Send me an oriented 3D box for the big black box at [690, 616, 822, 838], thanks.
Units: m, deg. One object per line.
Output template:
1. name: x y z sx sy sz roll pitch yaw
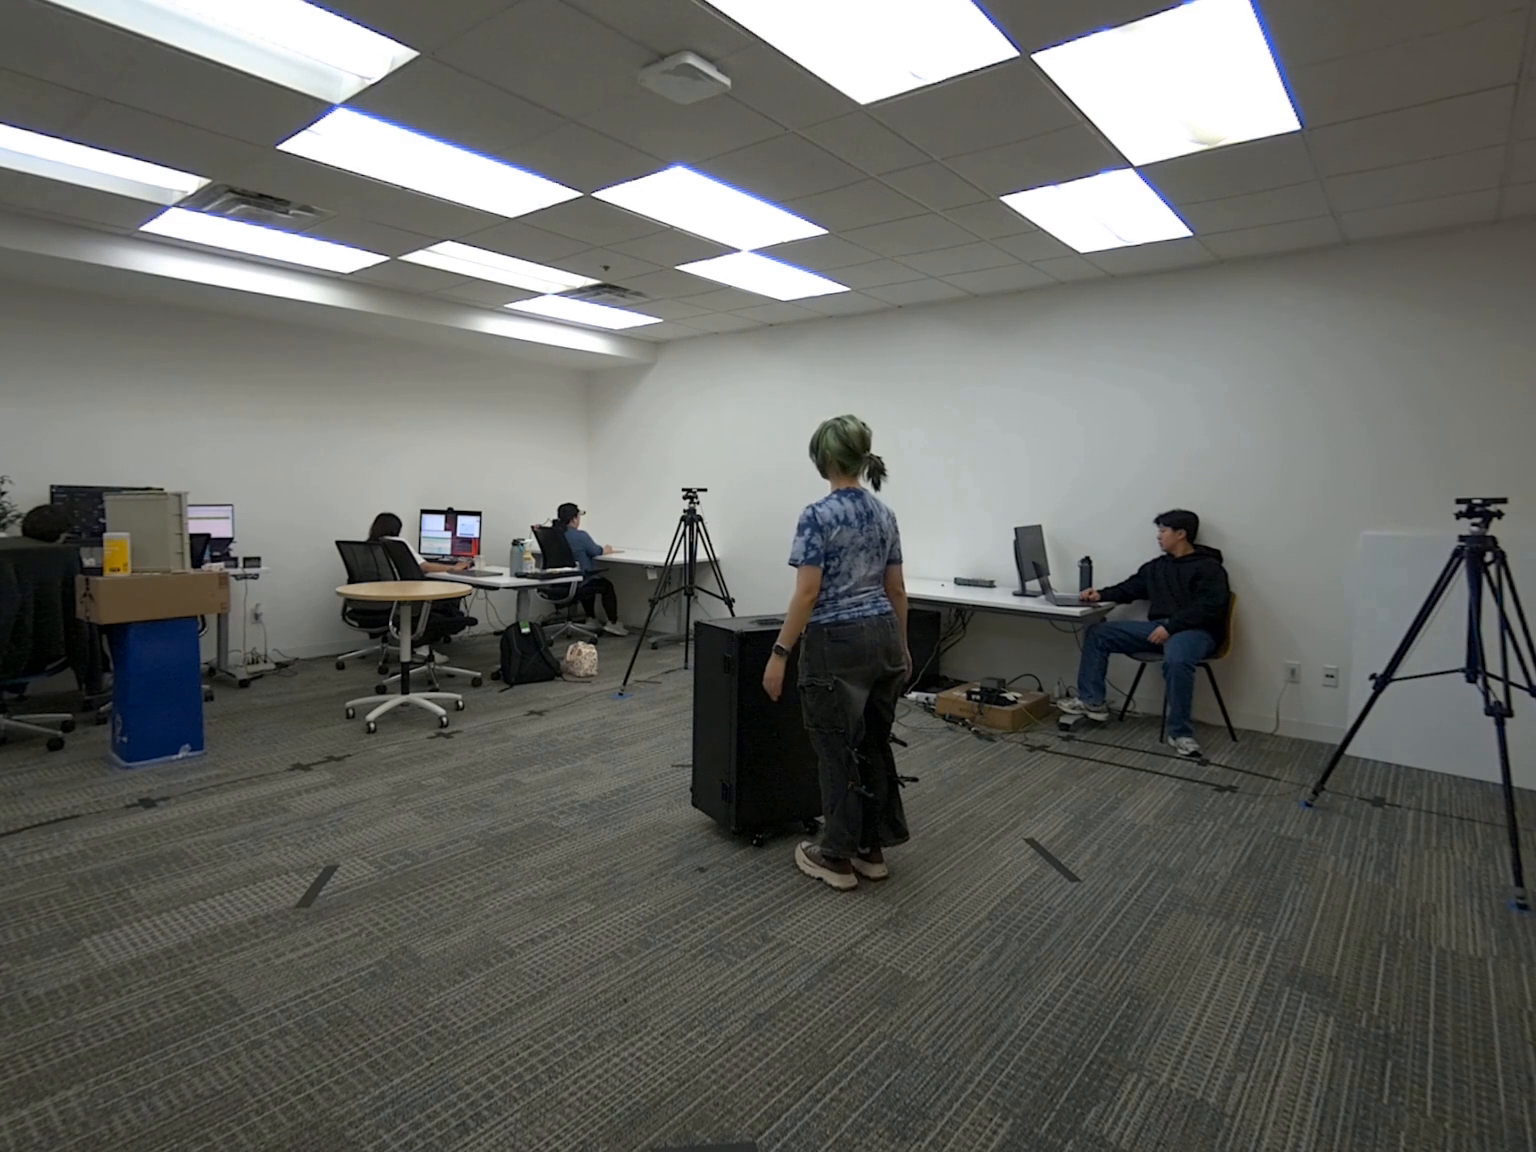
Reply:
1. big black box: -0.031 0.552 3.512 0.507 0.859 0.408 -2 3 -32
